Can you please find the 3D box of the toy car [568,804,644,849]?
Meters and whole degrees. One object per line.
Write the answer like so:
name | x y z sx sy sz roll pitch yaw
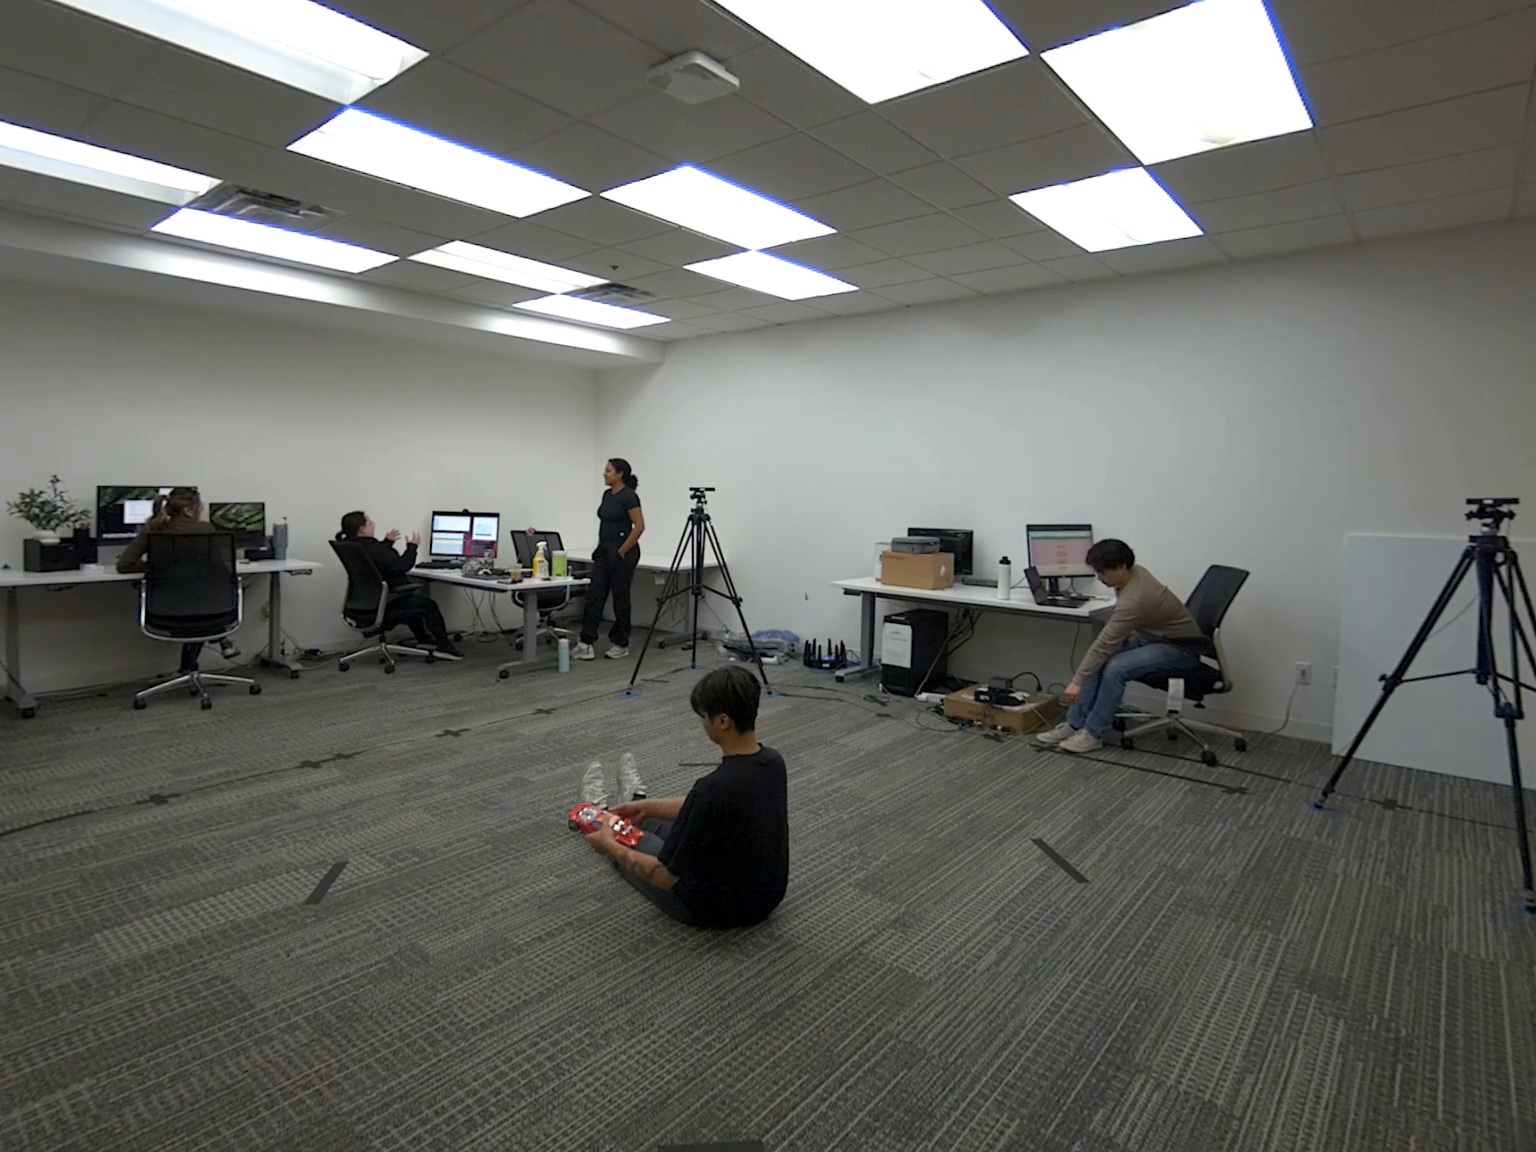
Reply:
toy car | -0.536 0.831 2.799 0.261 0.082 0.129 10 17 22
